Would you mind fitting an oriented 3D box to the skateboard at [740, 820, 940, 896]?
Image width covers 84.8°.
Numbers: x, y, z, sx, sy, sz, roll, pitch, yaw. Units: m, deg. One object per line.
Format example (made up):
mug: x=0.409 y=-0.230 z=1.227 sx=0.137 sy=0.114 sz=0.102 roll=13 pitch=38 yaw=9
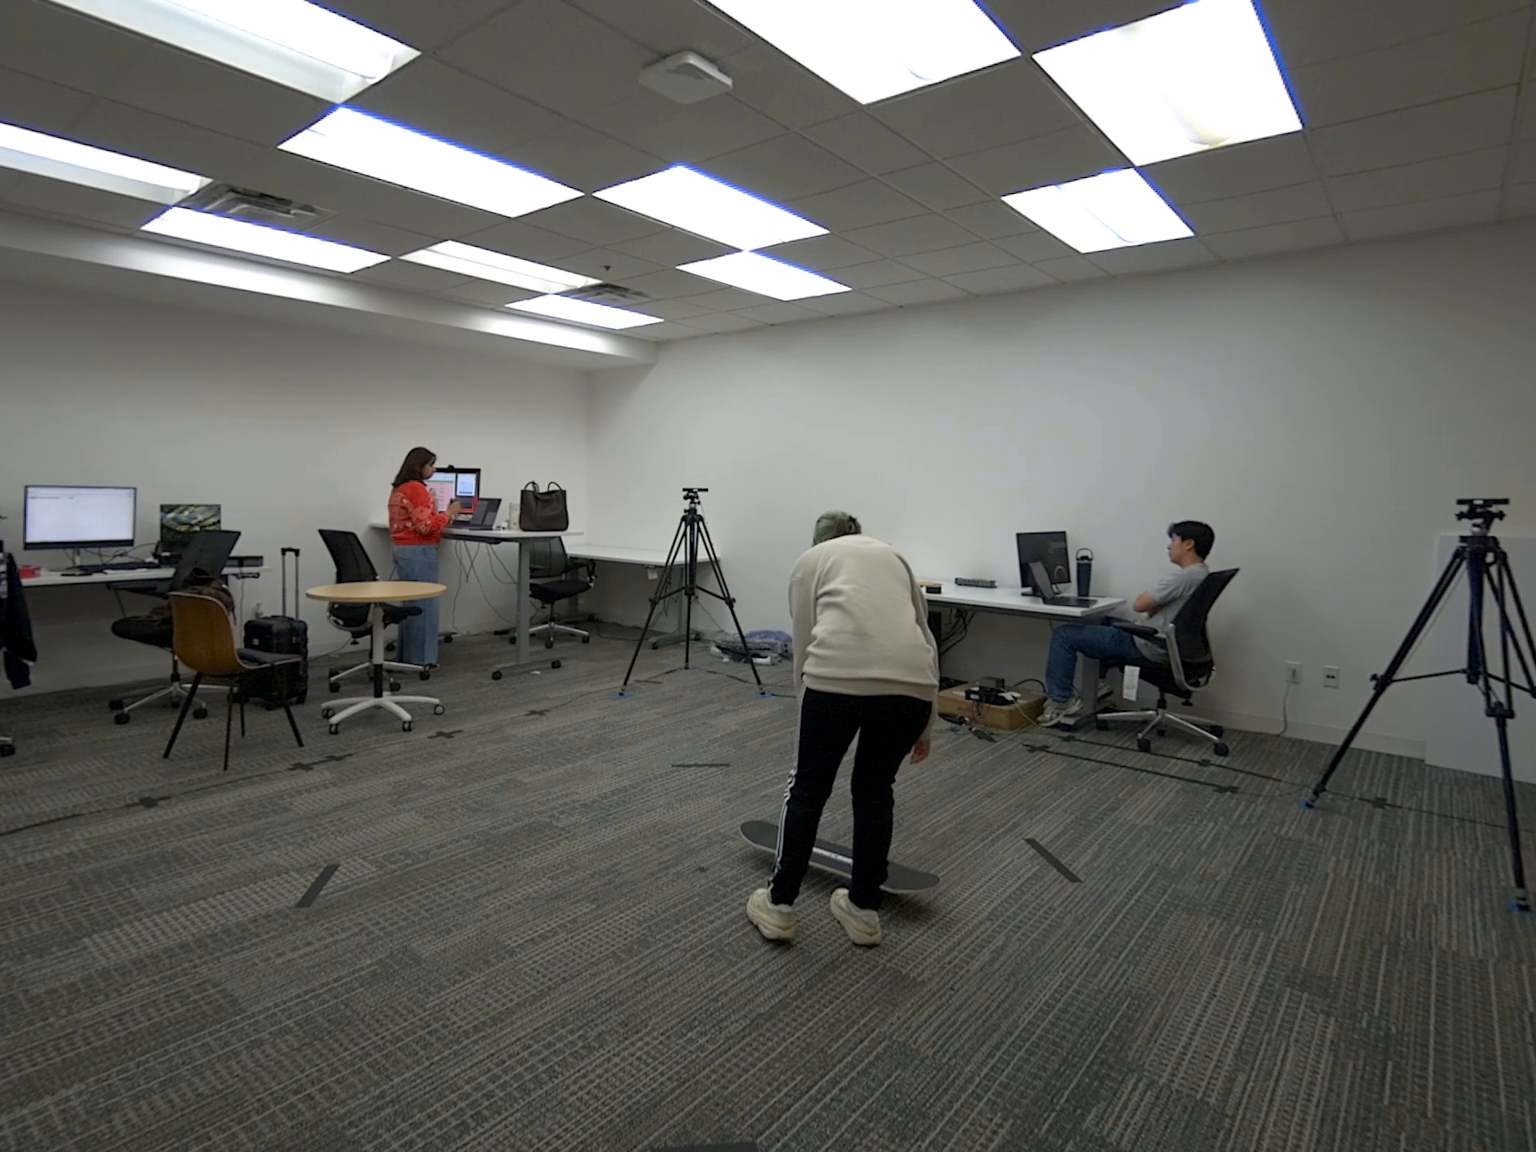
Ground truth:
skateboard: x=0.227 y=1.027 z=3.038 sx=0.811 sy=0.110 sz=0.188 roll=5 pitch=7 yaw=36
